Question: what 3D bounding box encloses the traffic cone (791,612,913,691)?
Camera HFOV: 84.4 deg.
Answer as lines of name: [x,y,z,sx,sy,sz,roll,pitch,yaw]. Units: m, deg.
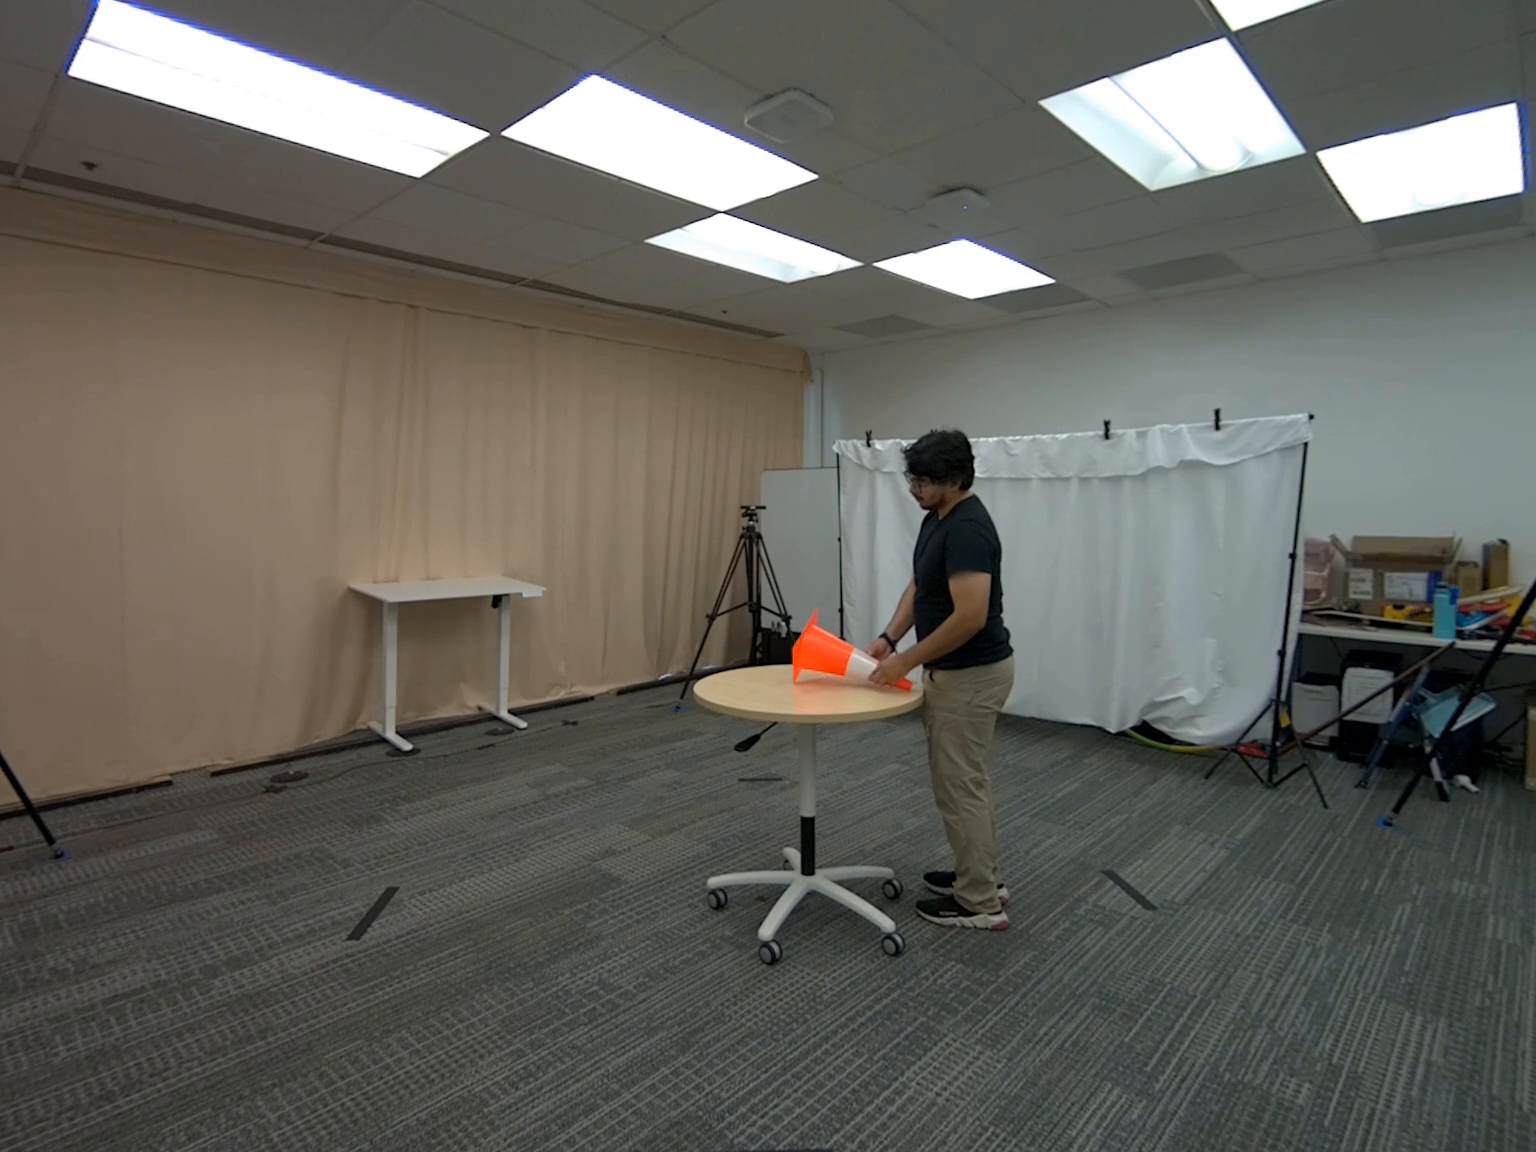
traffic cone: [0.306,0.302,2.808,0.392,0.199,0.204,18,49,19]
